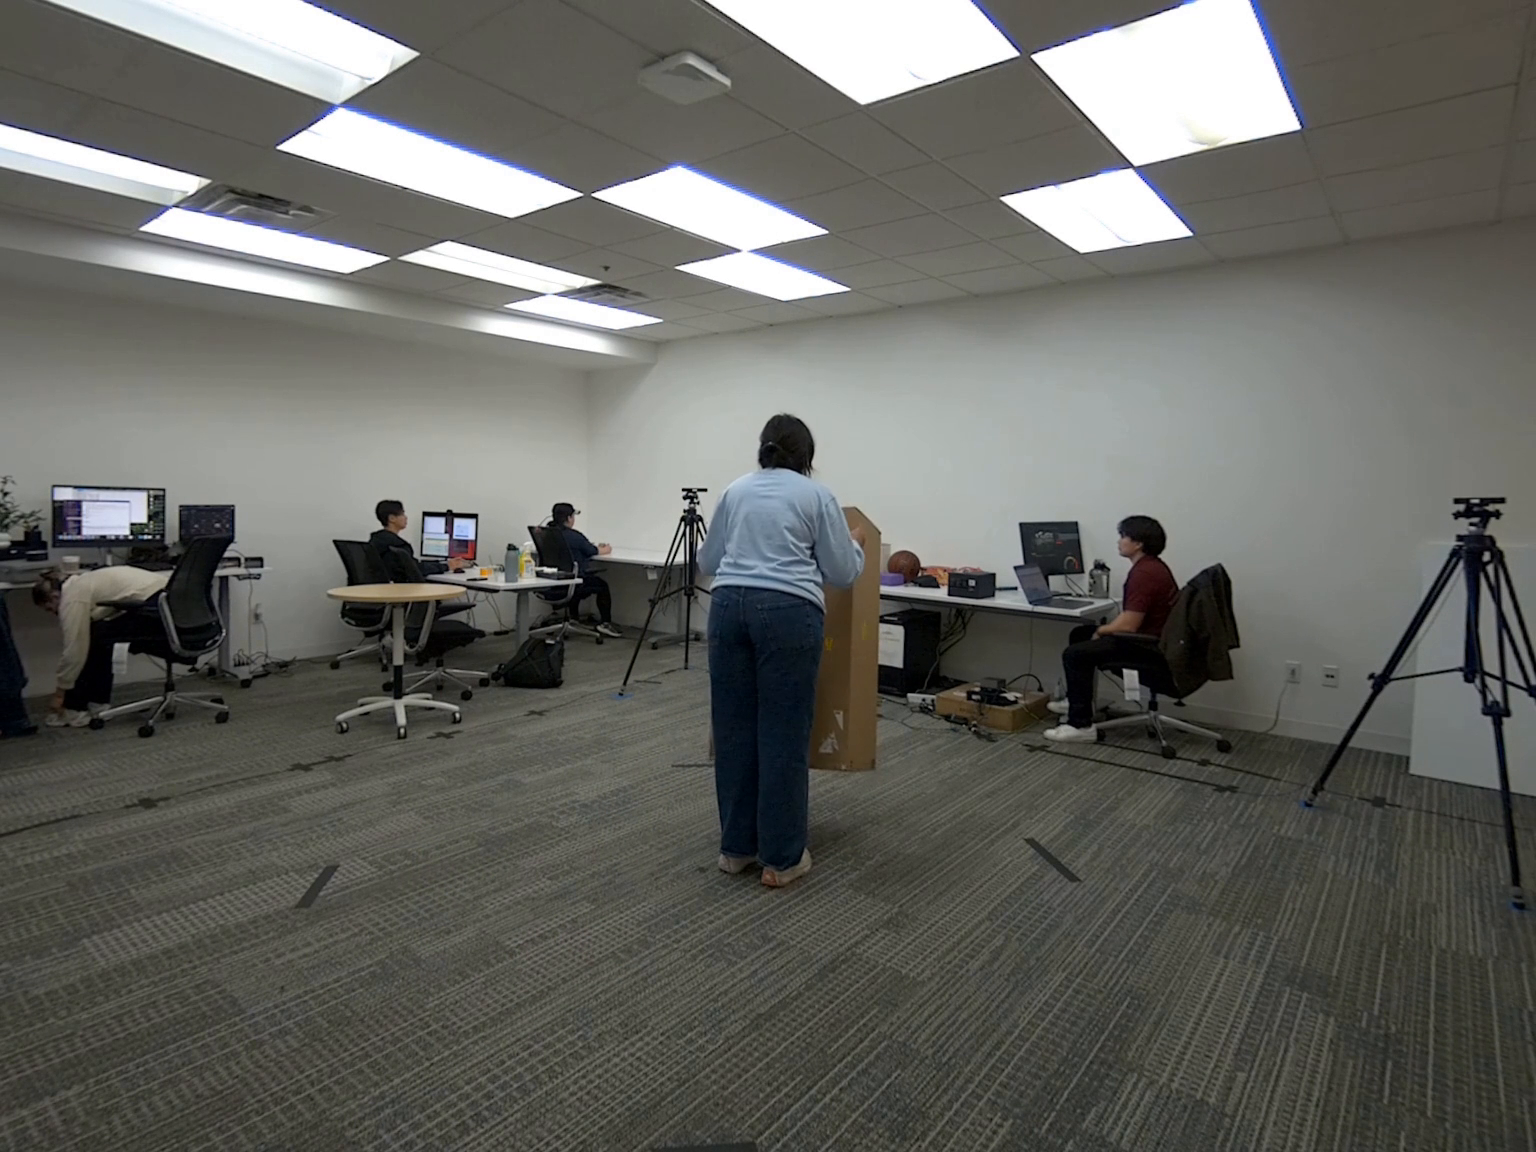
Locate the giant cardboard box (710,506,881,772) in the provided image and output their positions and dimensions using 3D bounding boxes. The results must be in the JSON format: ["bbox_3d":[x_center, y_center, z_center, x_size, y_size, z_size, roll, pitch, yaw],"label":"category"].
[{"bbox_3d":[0.127,0.270,3.564,0.598,1.039,0.431,-3,-14,25],"label":"giant cardboard box"}]
